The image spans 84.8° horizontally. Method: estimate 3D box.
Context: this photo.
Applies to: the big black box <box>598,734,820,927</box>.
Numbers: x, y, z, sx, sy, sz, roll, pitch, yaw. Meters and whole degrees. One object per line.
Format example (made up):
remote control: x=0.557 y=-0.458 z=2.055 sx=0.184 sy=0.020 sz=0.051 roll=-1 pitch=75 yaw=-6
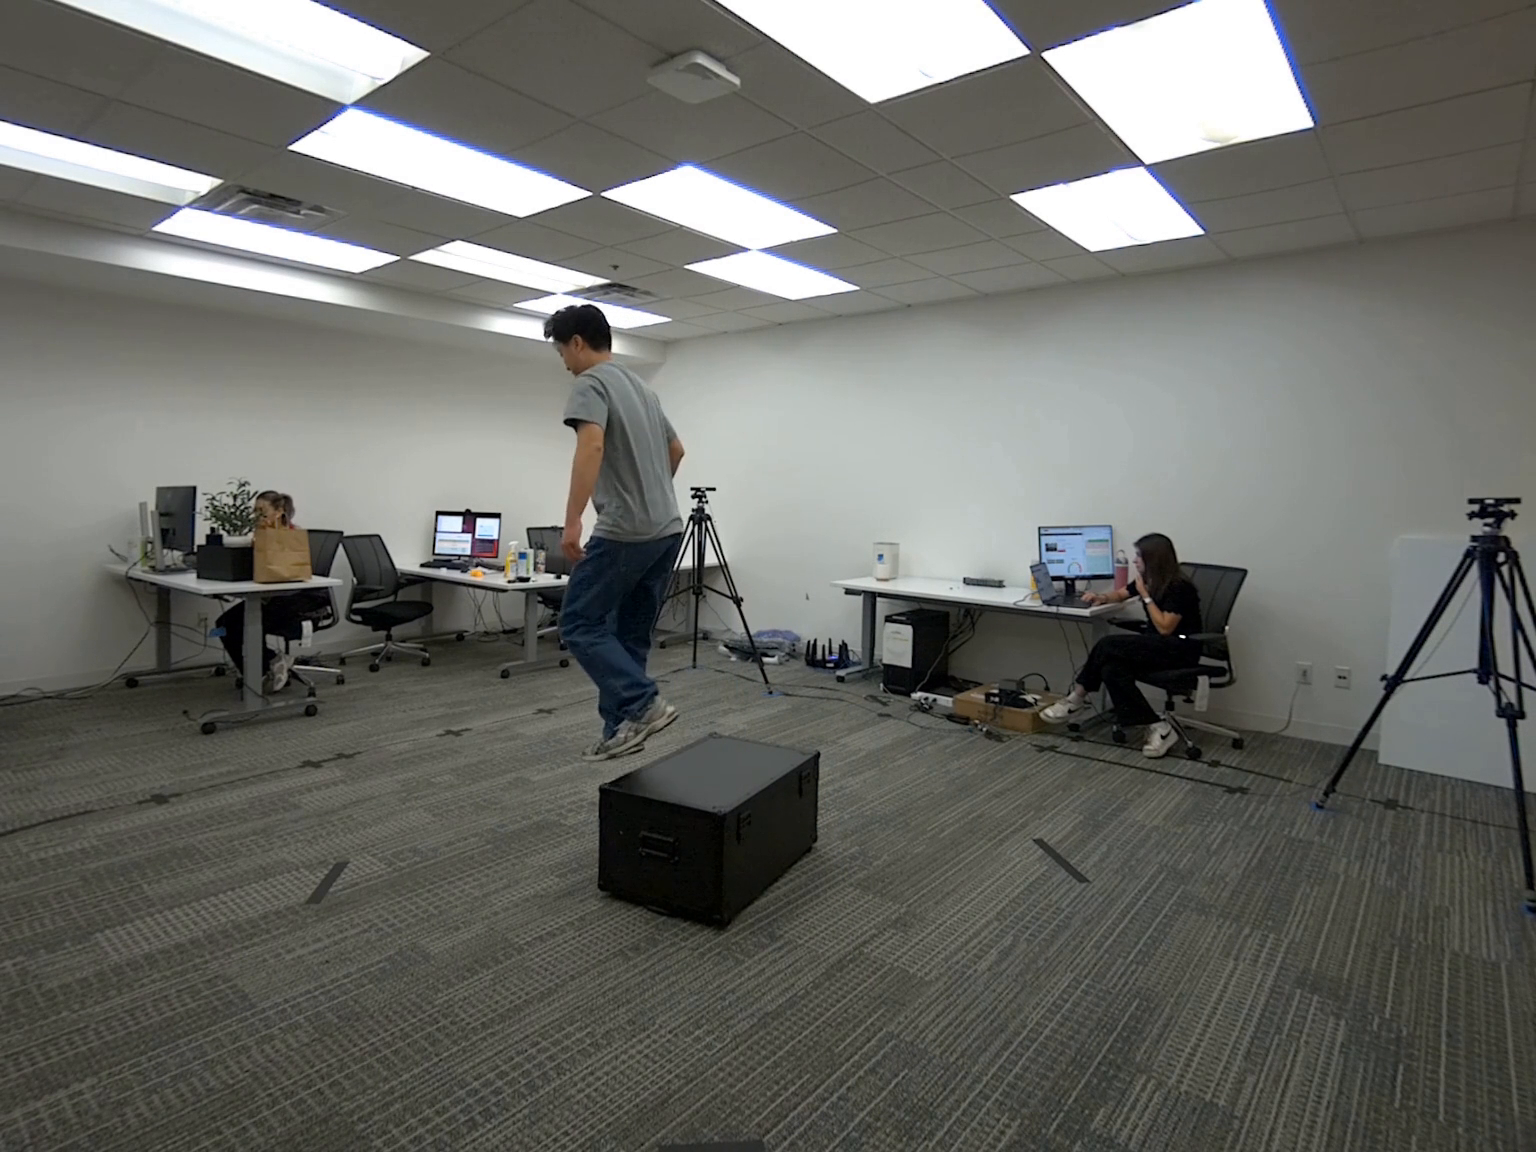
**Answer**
big black box: x=-0.180 y=0.874 z=3.114 sx=0.535 sy=0.395 sz=0.842 roll=3 pitch=6 yaw=26
